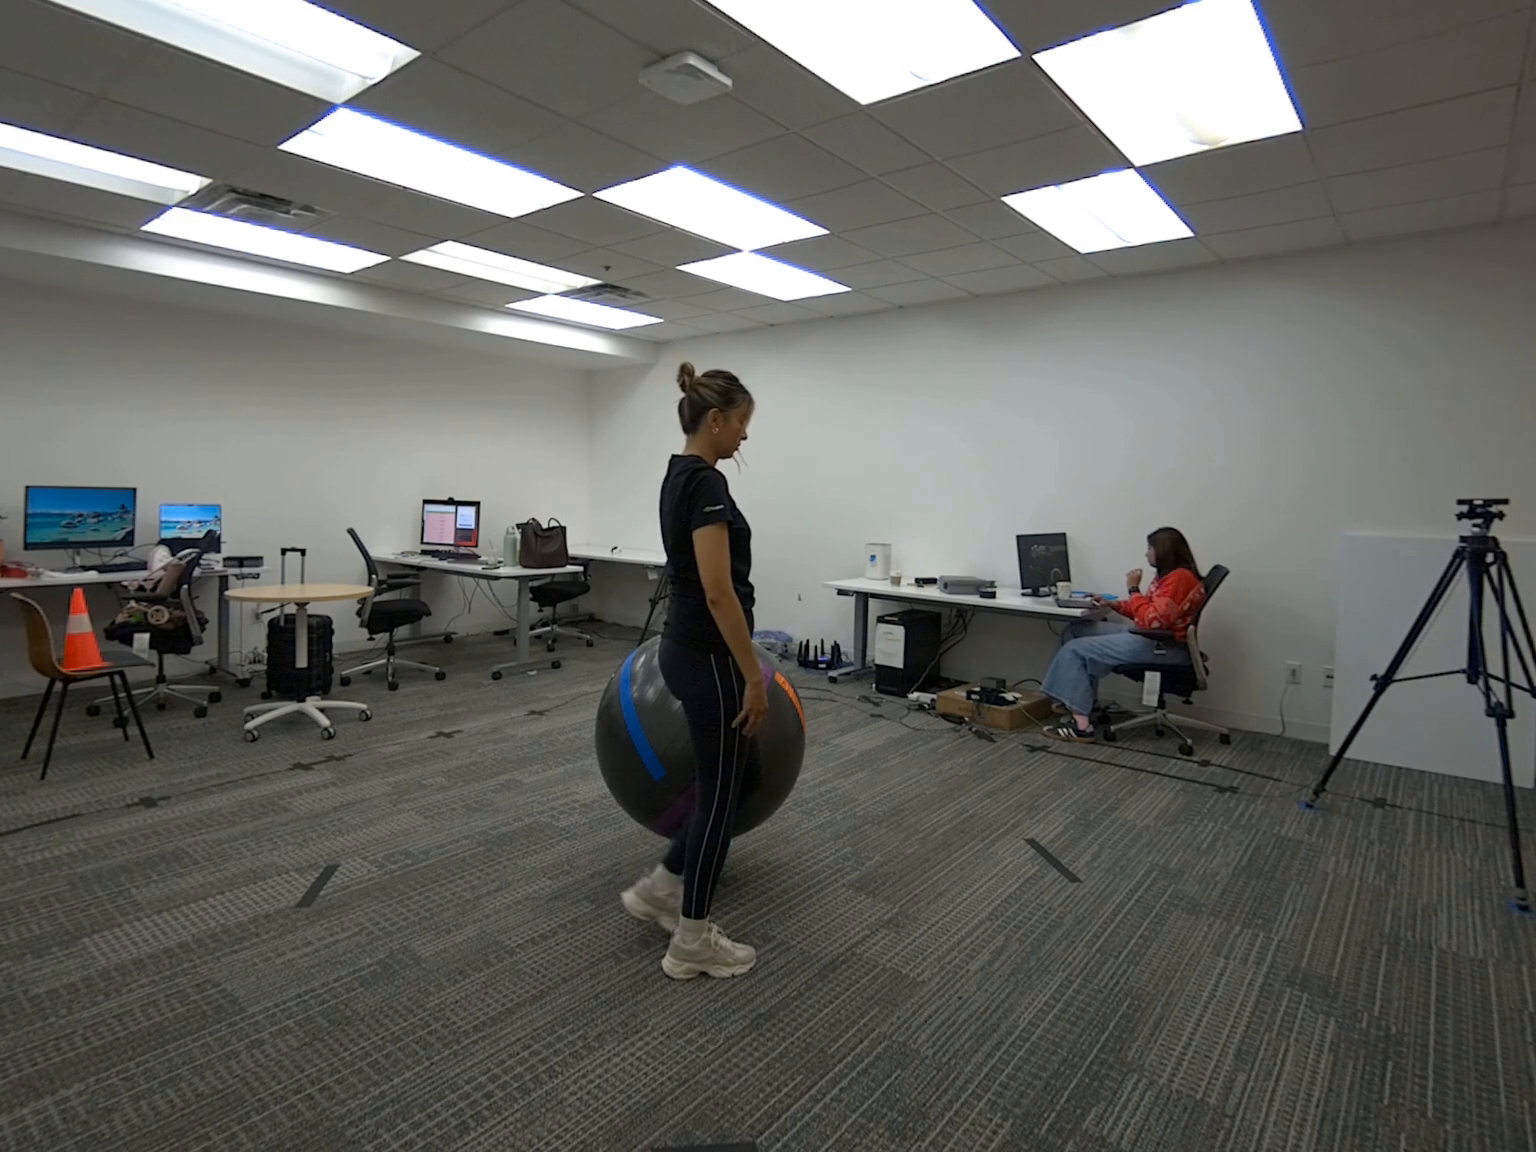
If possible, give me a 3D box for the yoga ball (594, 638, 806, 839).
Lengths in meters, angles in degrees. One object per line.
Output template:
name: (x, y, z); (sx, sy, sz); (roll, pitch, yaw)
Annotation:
yoga ball: (-0.257, 0.561, 3.068); (0.757, 0.756, 0.762); (1, 4, -2)
